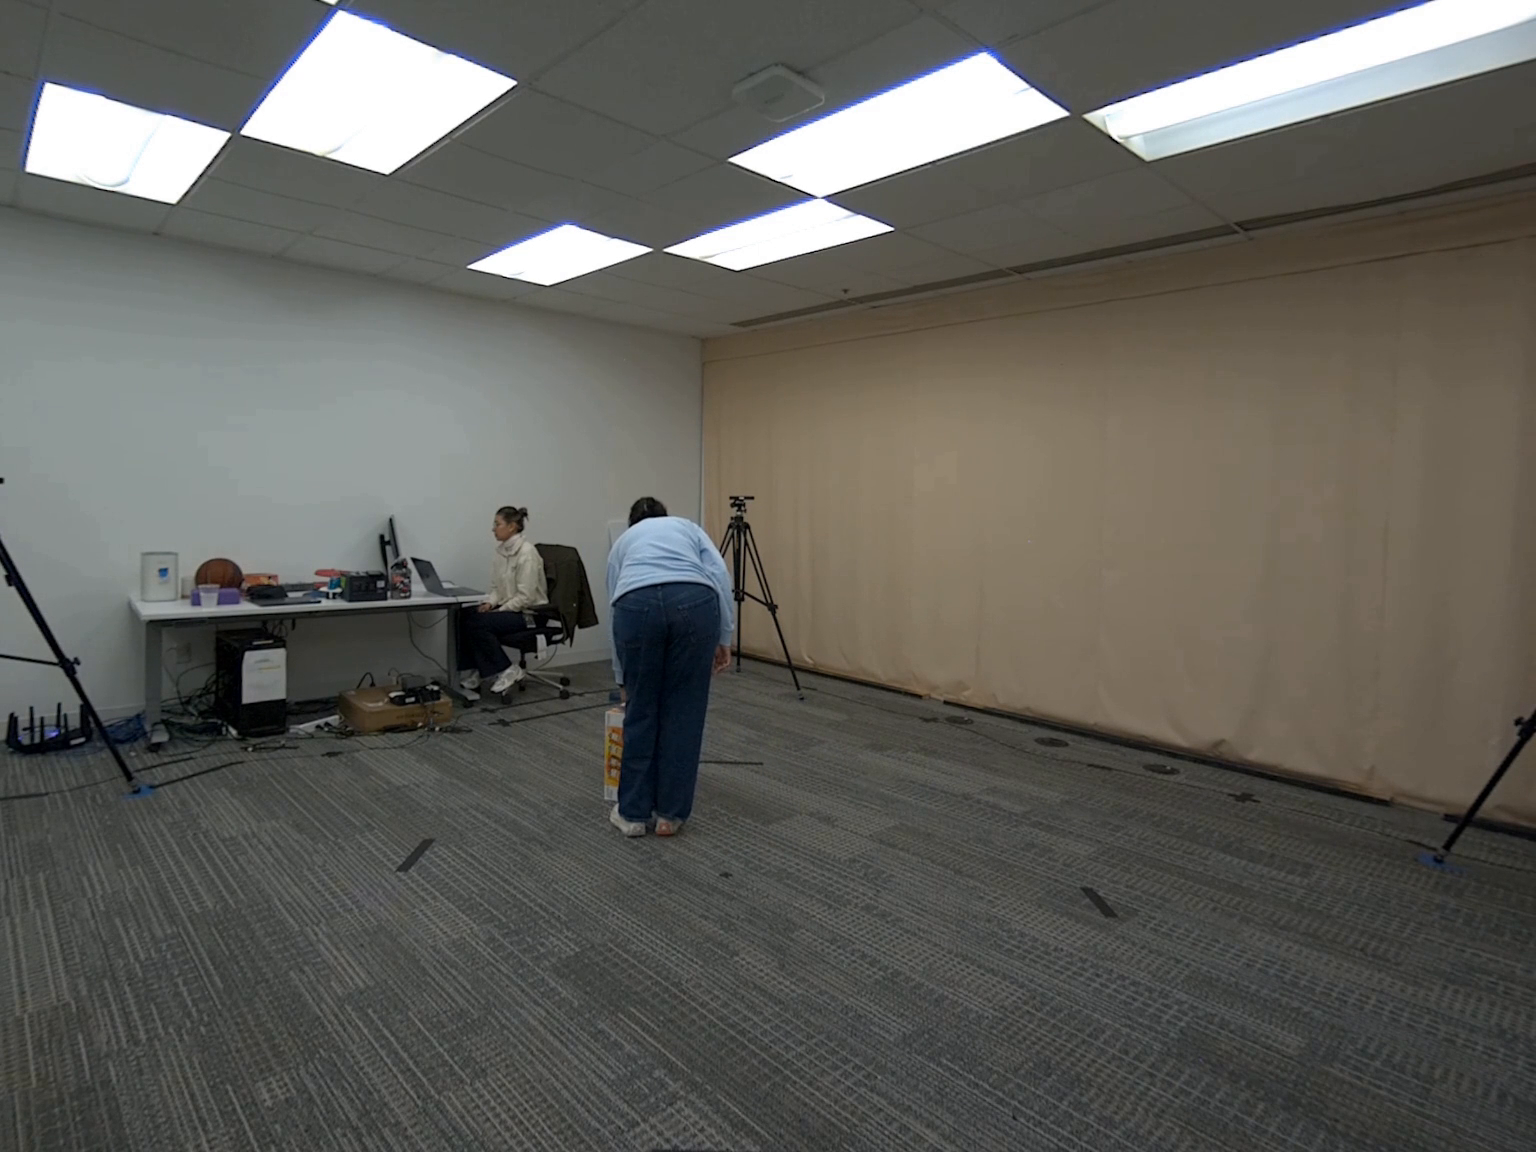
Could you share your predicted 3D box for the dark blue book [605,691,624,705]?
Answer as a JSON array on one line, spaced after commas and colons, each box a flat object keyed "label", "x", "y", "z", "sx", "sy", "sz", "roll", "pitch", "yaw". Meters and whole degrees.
[{"label": "dark blue book", "x": -0.615, "y": 0.561, "z": 3.884, "sx": 0.159, "sy": 0.045, "sz": 0.249, "roll": 14, "pitch": -17, "yaw": -35}]
